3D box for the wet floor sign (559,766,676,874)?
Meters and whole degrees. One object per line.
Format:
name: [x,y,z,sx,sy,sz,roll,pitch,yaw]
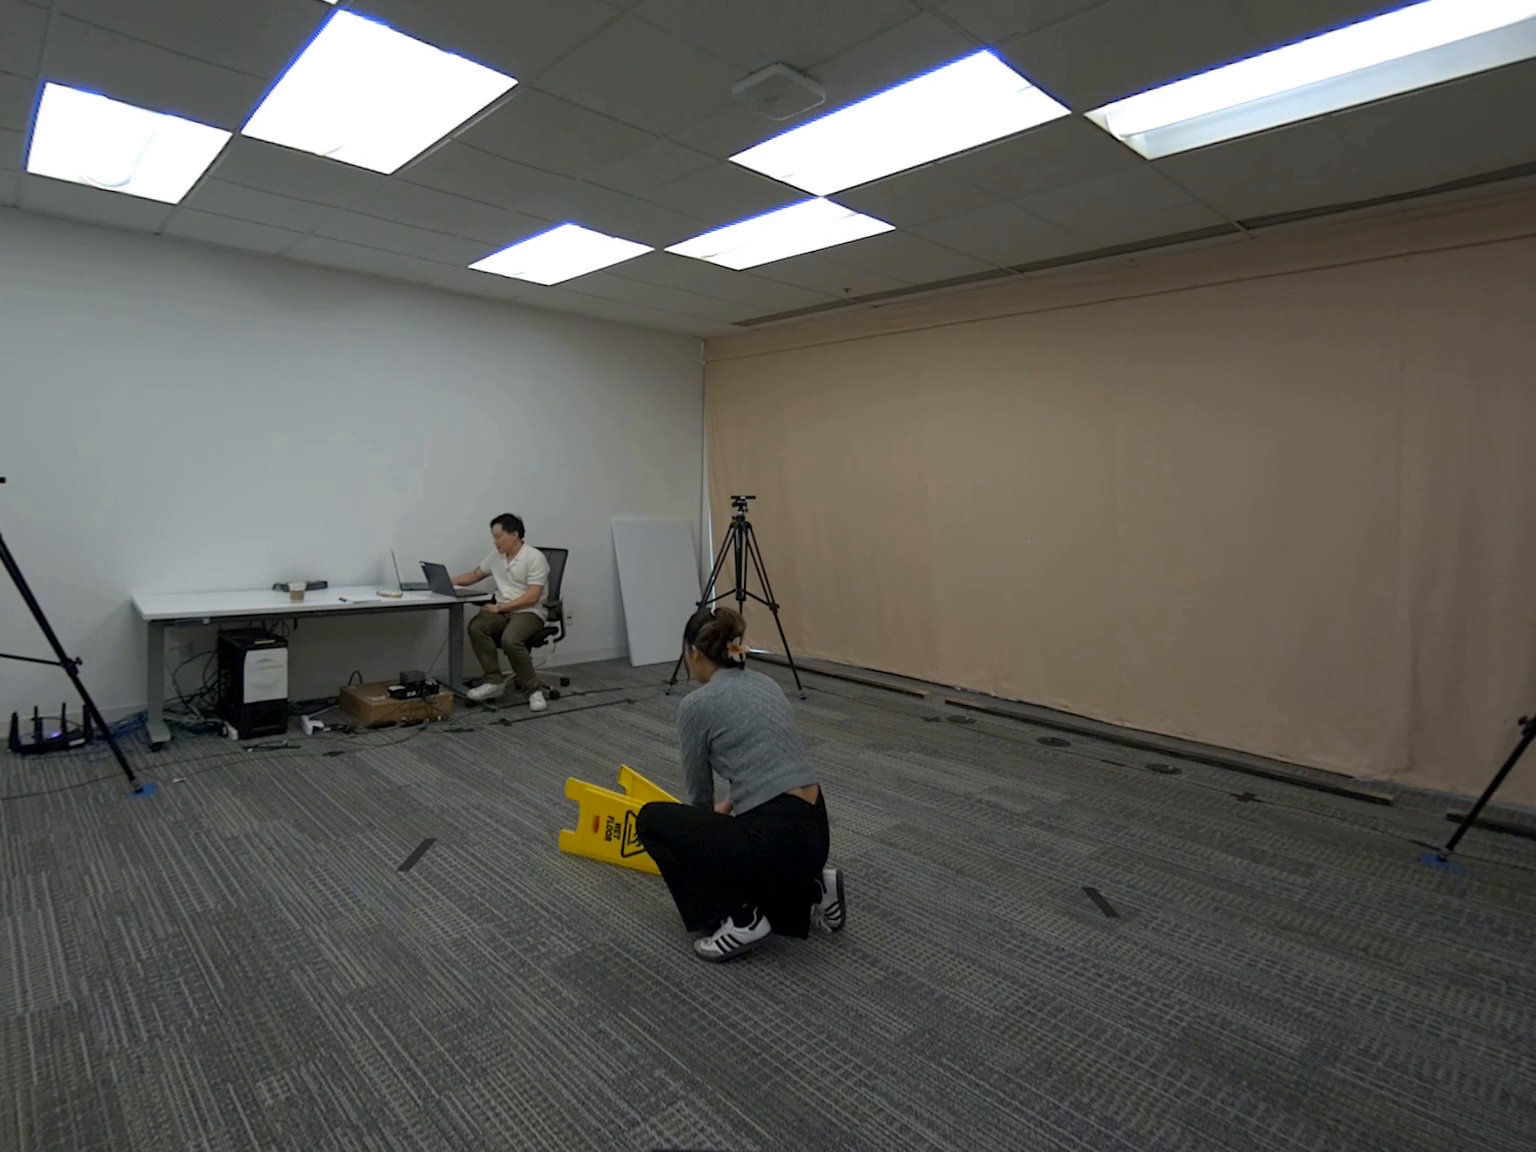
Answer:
wet floor sign: [-0.459,0.961,3.181,0.663,0.282,0.282,10,3,36]
